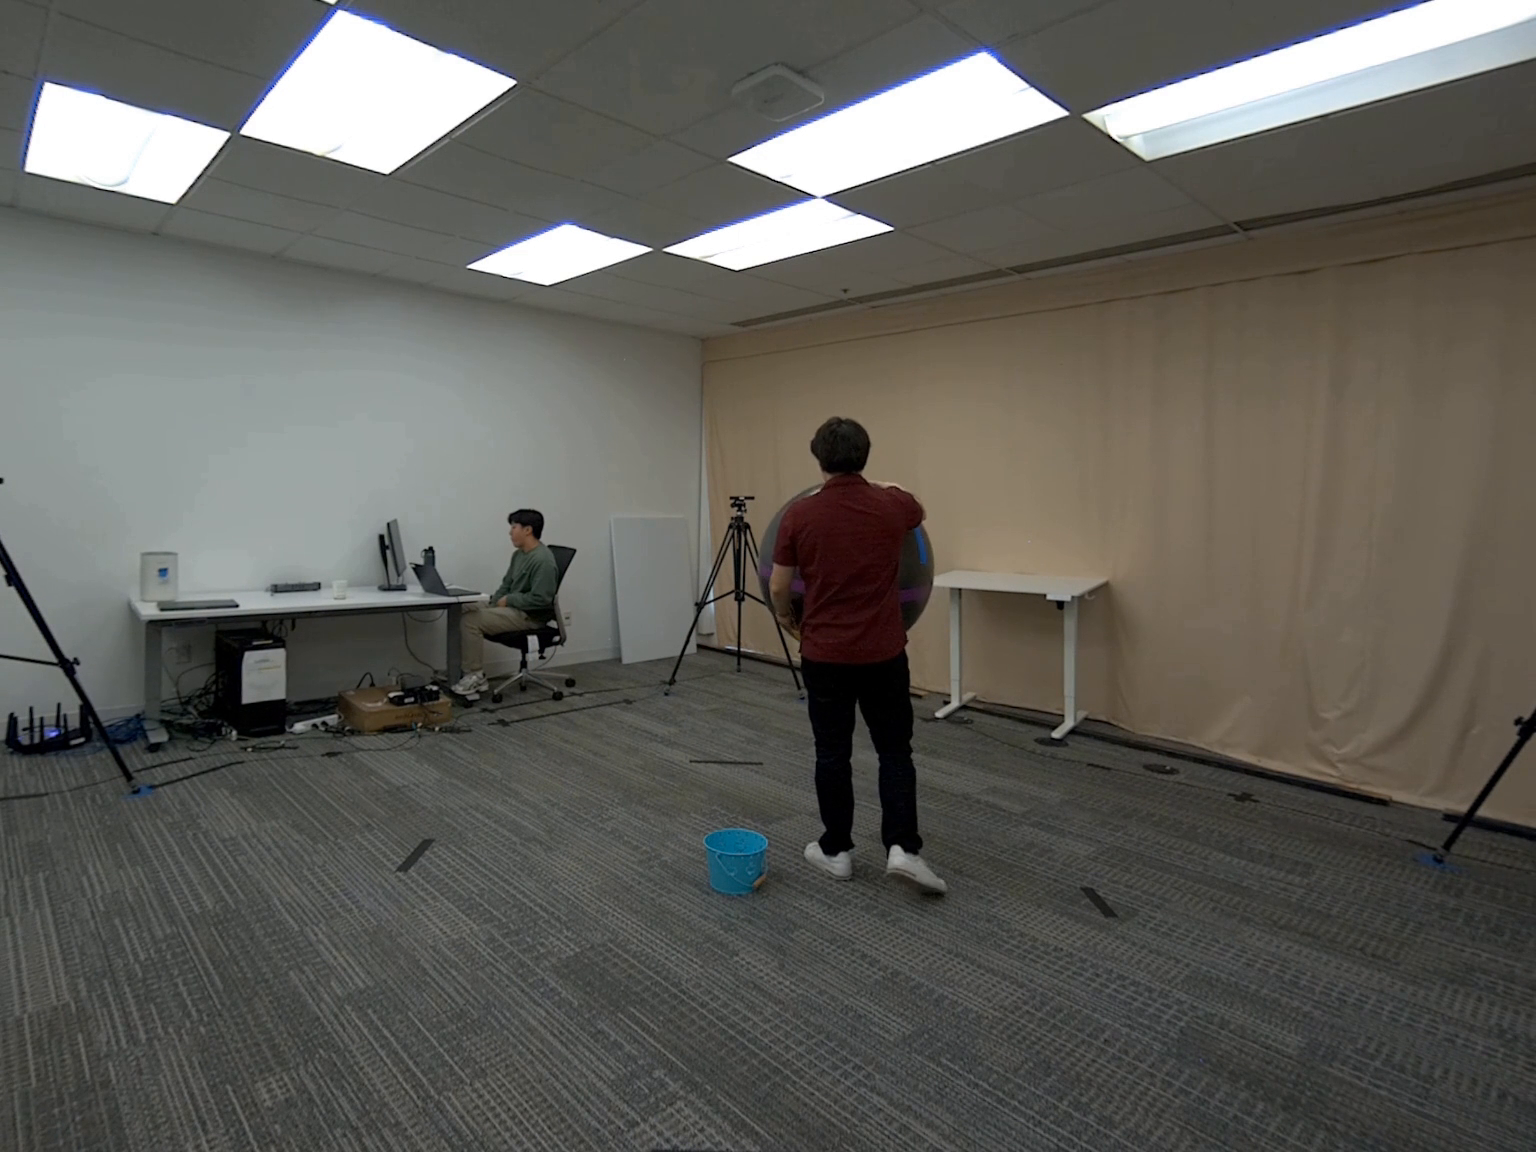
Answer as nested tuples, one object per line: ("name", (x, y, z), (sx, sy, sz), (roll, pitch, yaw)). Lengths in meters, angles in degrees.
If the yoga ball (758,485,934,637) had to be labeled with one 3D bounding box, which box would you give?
("yoga ball", (0.353, -0.027, 3.646), (0.757, 0.756, 0.761), (1, 4, -1))
